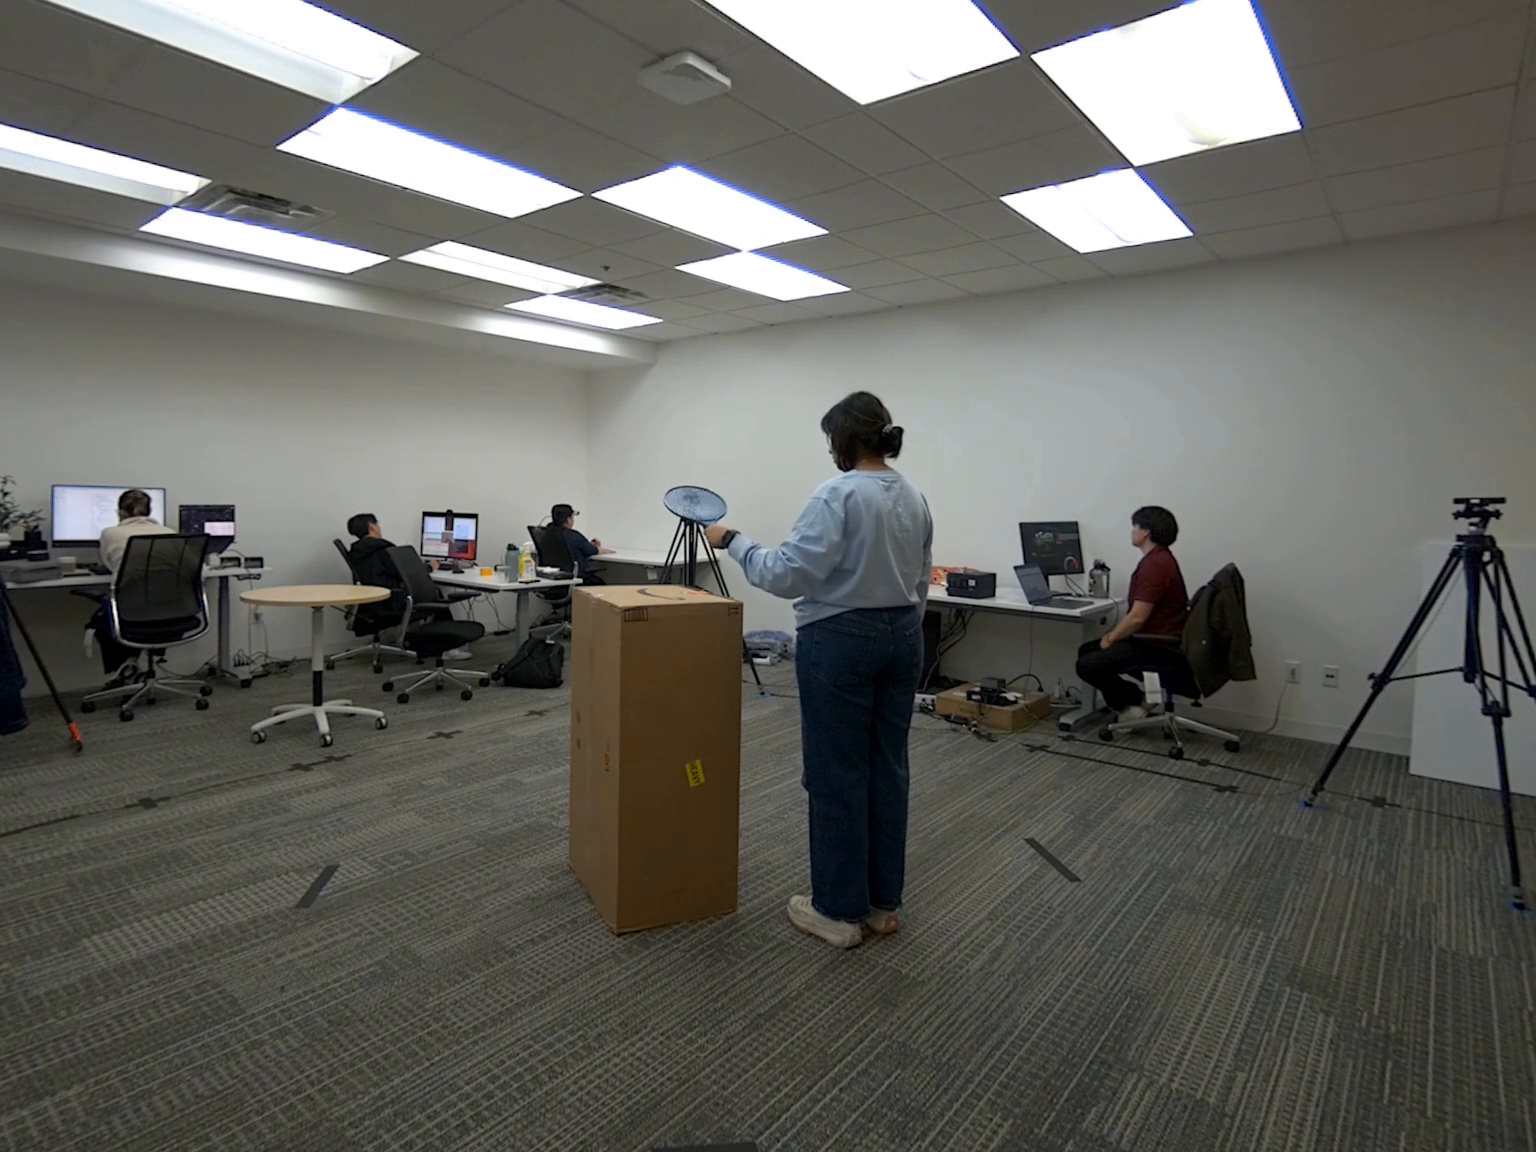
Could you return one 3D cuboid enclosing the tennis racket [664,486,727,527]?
[{"bbox_3d":[-0.215,-0.213,2.860,0.209,0.031,0.452,-11,34,-28],"label":"tennis racket"}]
